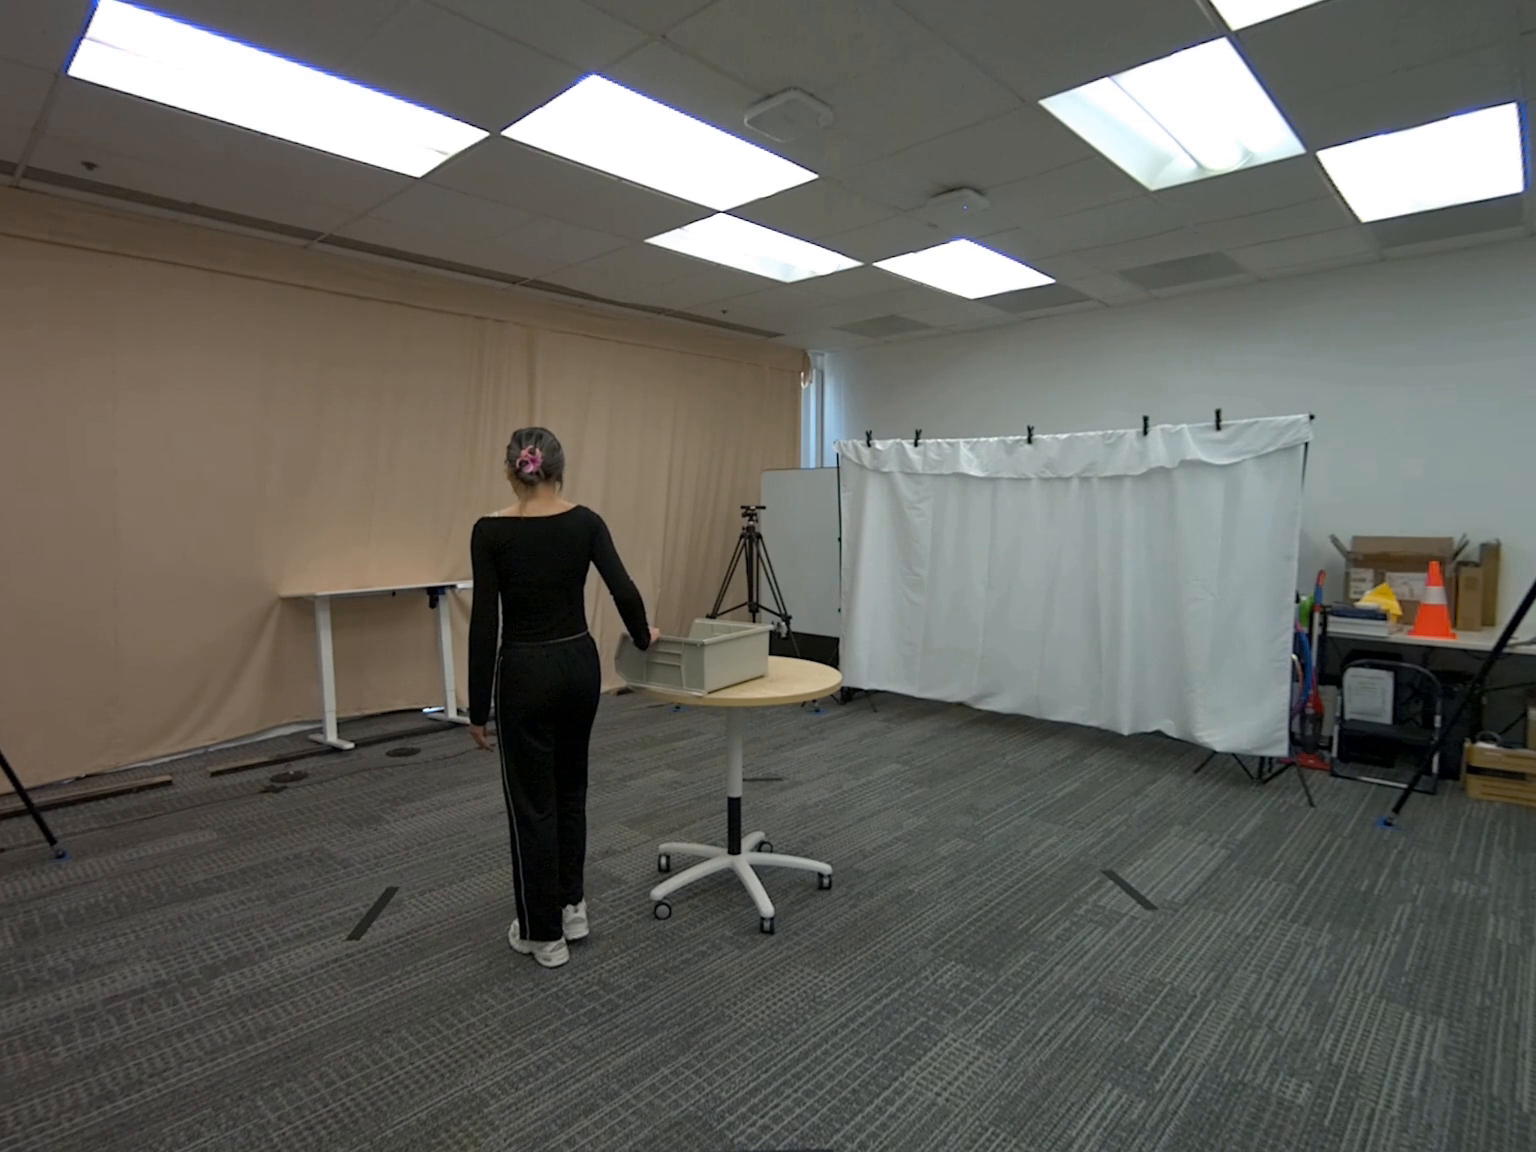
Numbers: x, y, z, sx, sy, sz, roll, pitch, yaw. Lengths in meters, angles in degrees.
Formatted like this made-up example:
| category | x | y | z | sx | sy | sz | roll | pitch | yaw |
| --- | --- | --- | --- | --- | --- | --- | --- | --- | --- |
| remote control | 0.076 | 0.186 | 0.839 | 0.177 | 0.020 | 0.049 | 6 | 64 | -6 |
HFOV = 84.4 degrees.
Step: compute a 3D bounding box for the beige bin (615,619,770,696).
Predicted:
| category | x | y | z | sx | sy | sz | roll | pitch | yaw |
| --- | --- | --- | --- | --- | --- | --- | --- | --- | --- |
| beige bin | -0.246 | 0.266 | 2.900 | 0.389 | 0.188 | 0.410 | 5 | 5 | 32 |
